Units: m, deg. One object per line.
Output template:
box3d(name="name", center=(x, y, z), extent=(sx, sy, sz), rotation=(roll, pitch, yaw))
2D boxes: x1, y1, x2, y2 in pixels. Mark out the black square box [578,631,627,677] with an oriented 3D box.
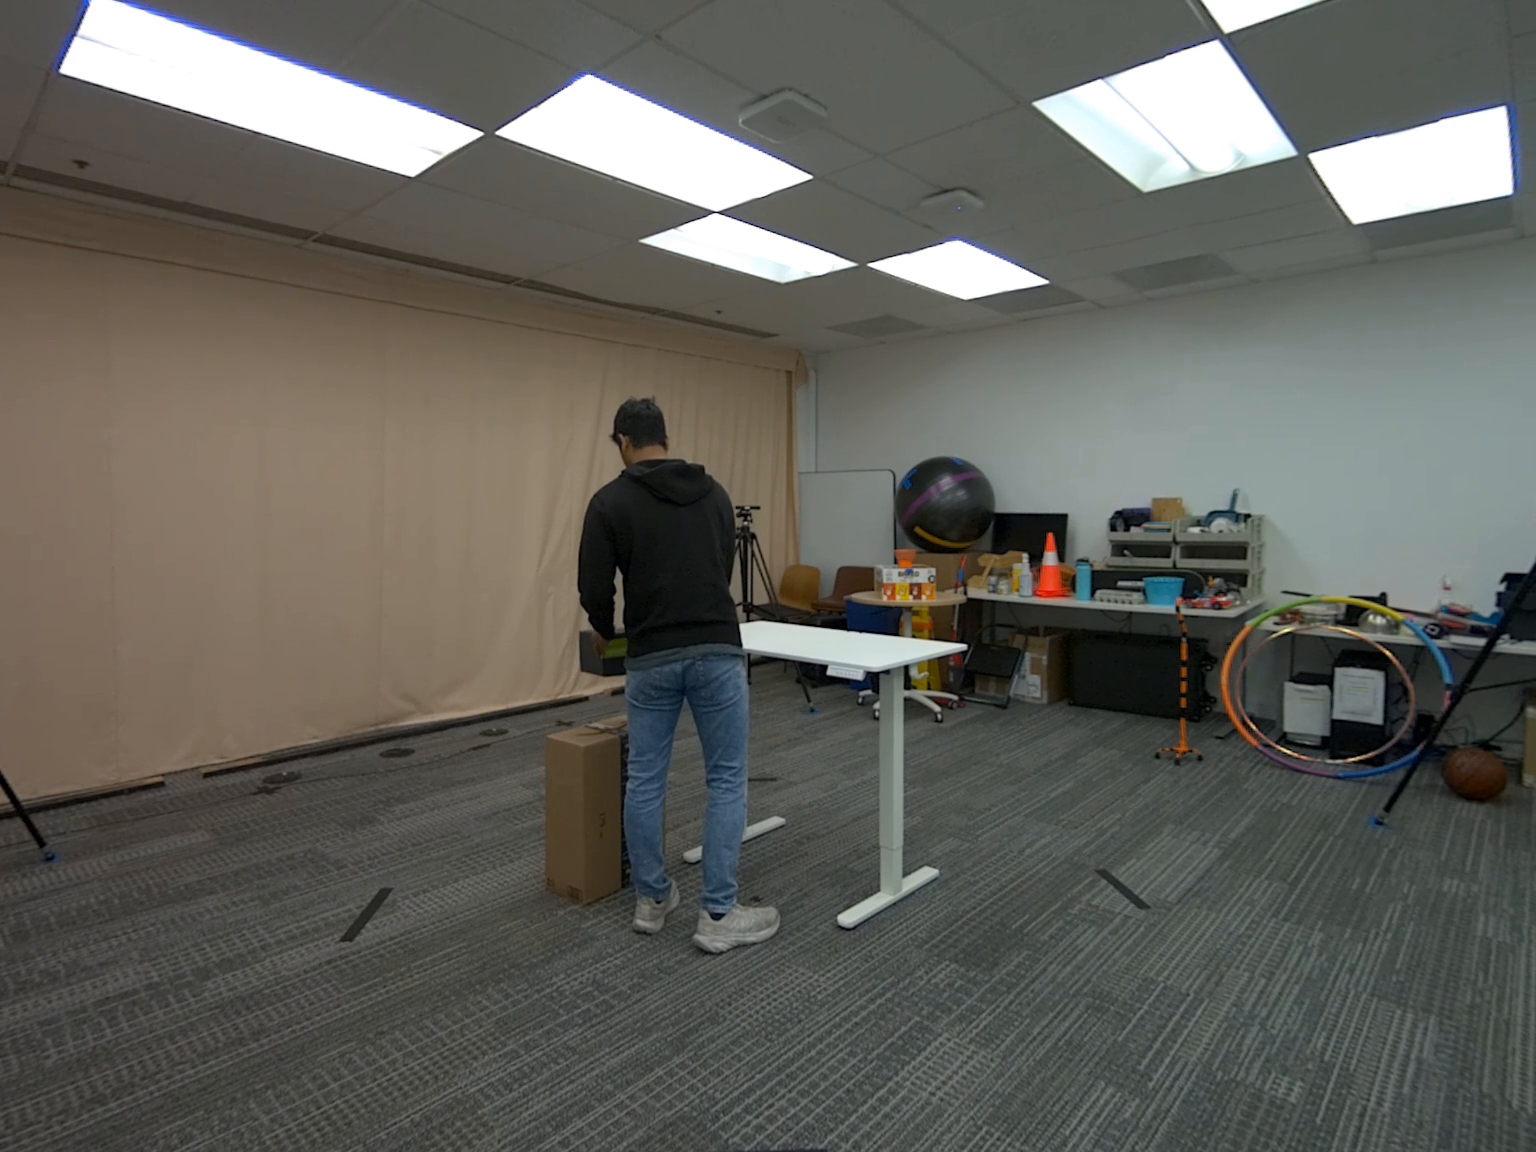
box3d(name="black square box", center=(-0.559, 0.283, 3.177), extent=(0.221, 0.156, 0.223), rotation=(-2, 1, -35))
